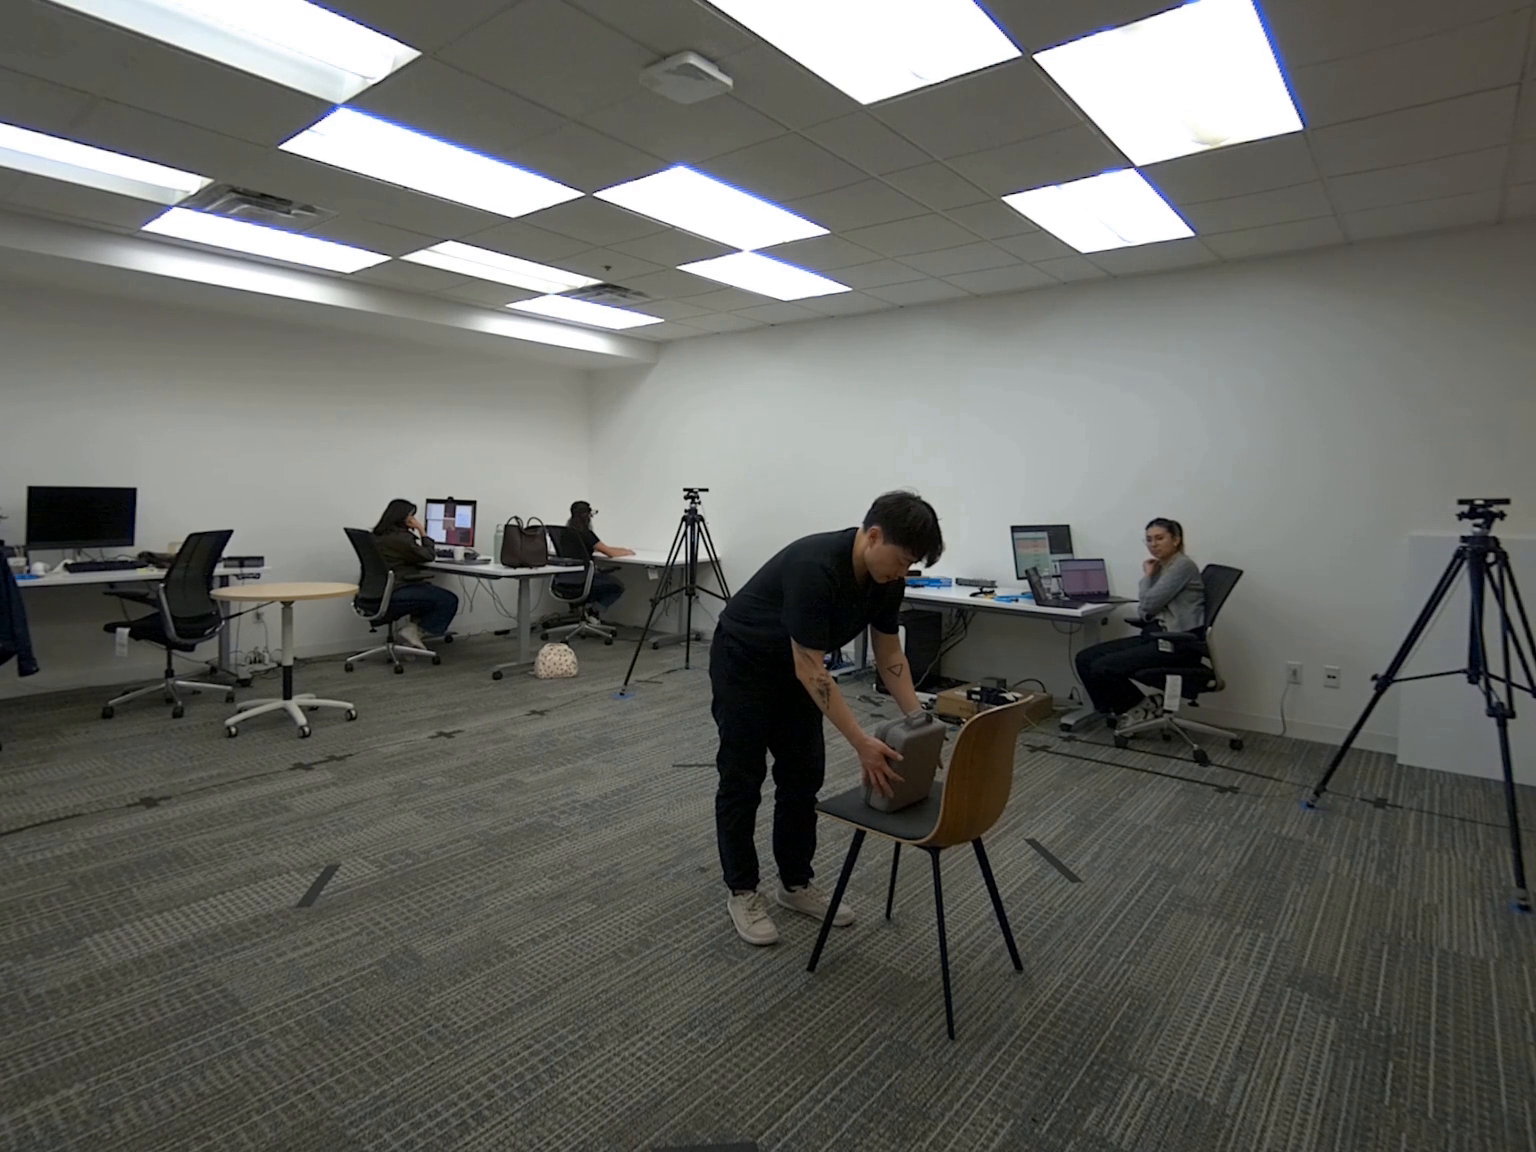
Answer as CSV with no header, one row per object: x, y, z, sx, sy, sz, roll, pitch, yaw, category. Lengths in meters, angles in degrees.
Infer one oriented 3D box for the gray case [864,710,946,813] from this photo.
0.391,0.550,2.474,0.249,0.257,0.109,0,26,-35,gray case
